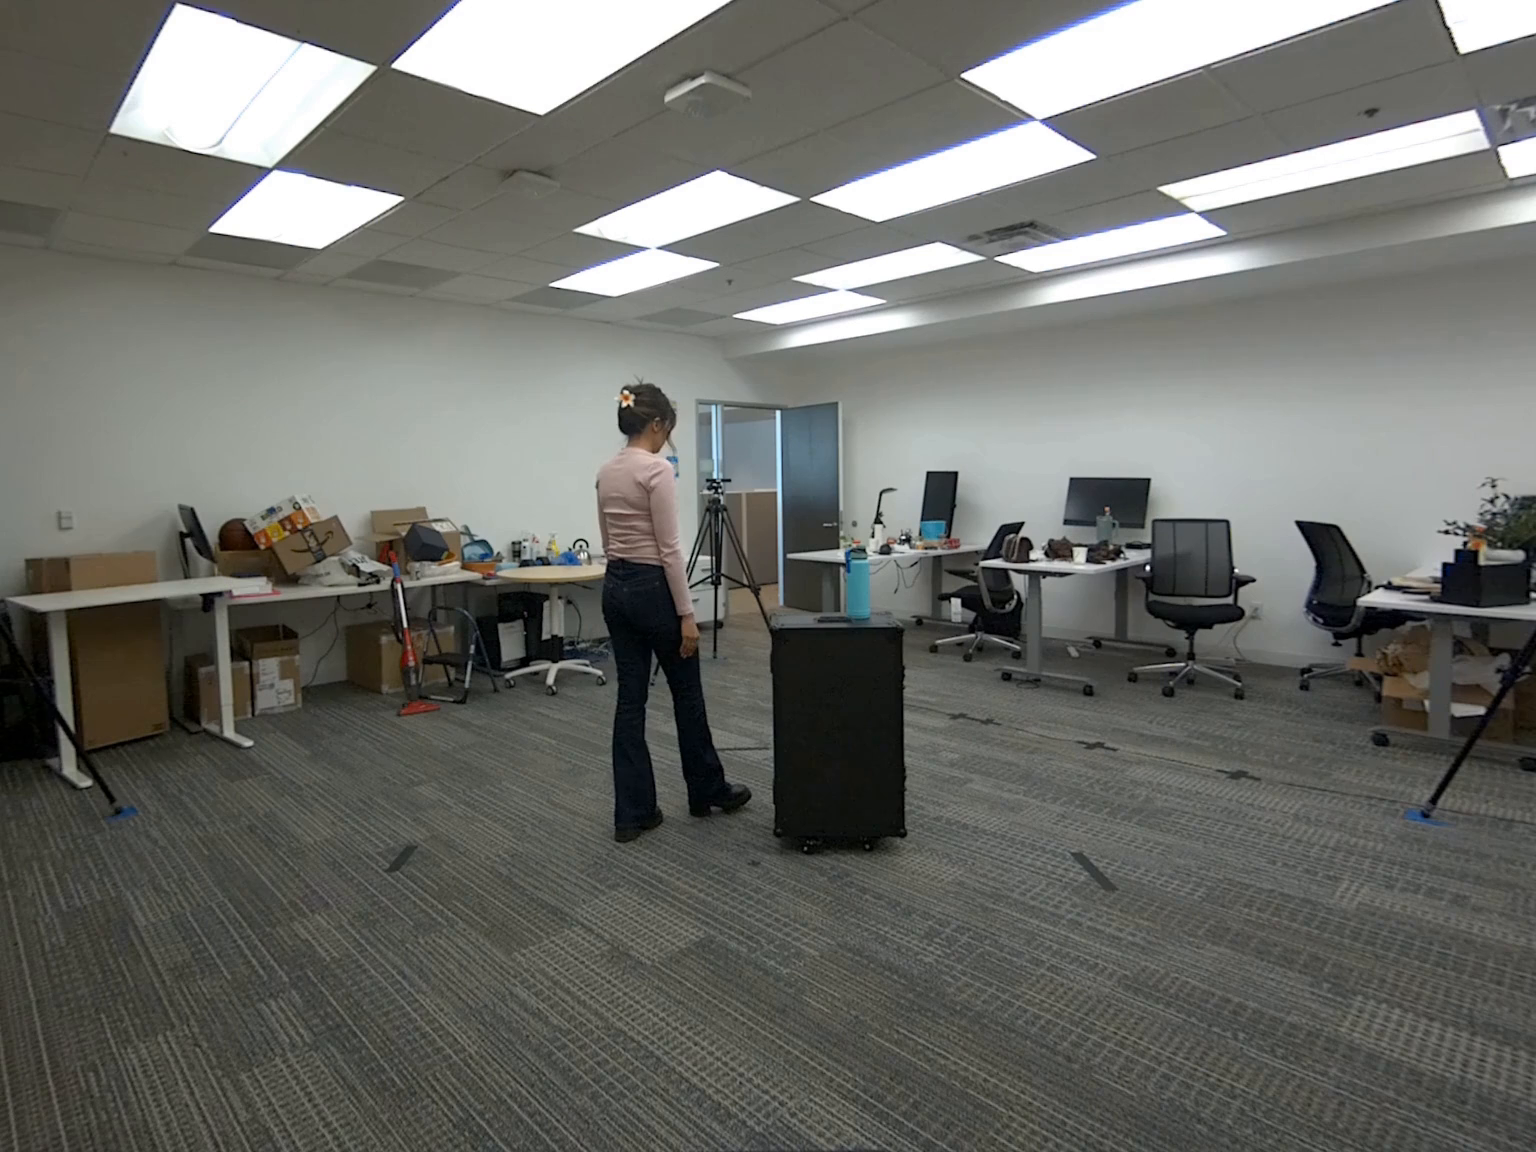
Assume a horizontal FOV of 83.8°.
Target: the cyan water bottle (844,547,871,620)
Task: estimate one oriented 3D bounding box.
[{"bbox_3d":[0.347,0.021,3.329,0.092,0.281,0.093,-2,8,-1],"label":"cyan water bottle"}]
